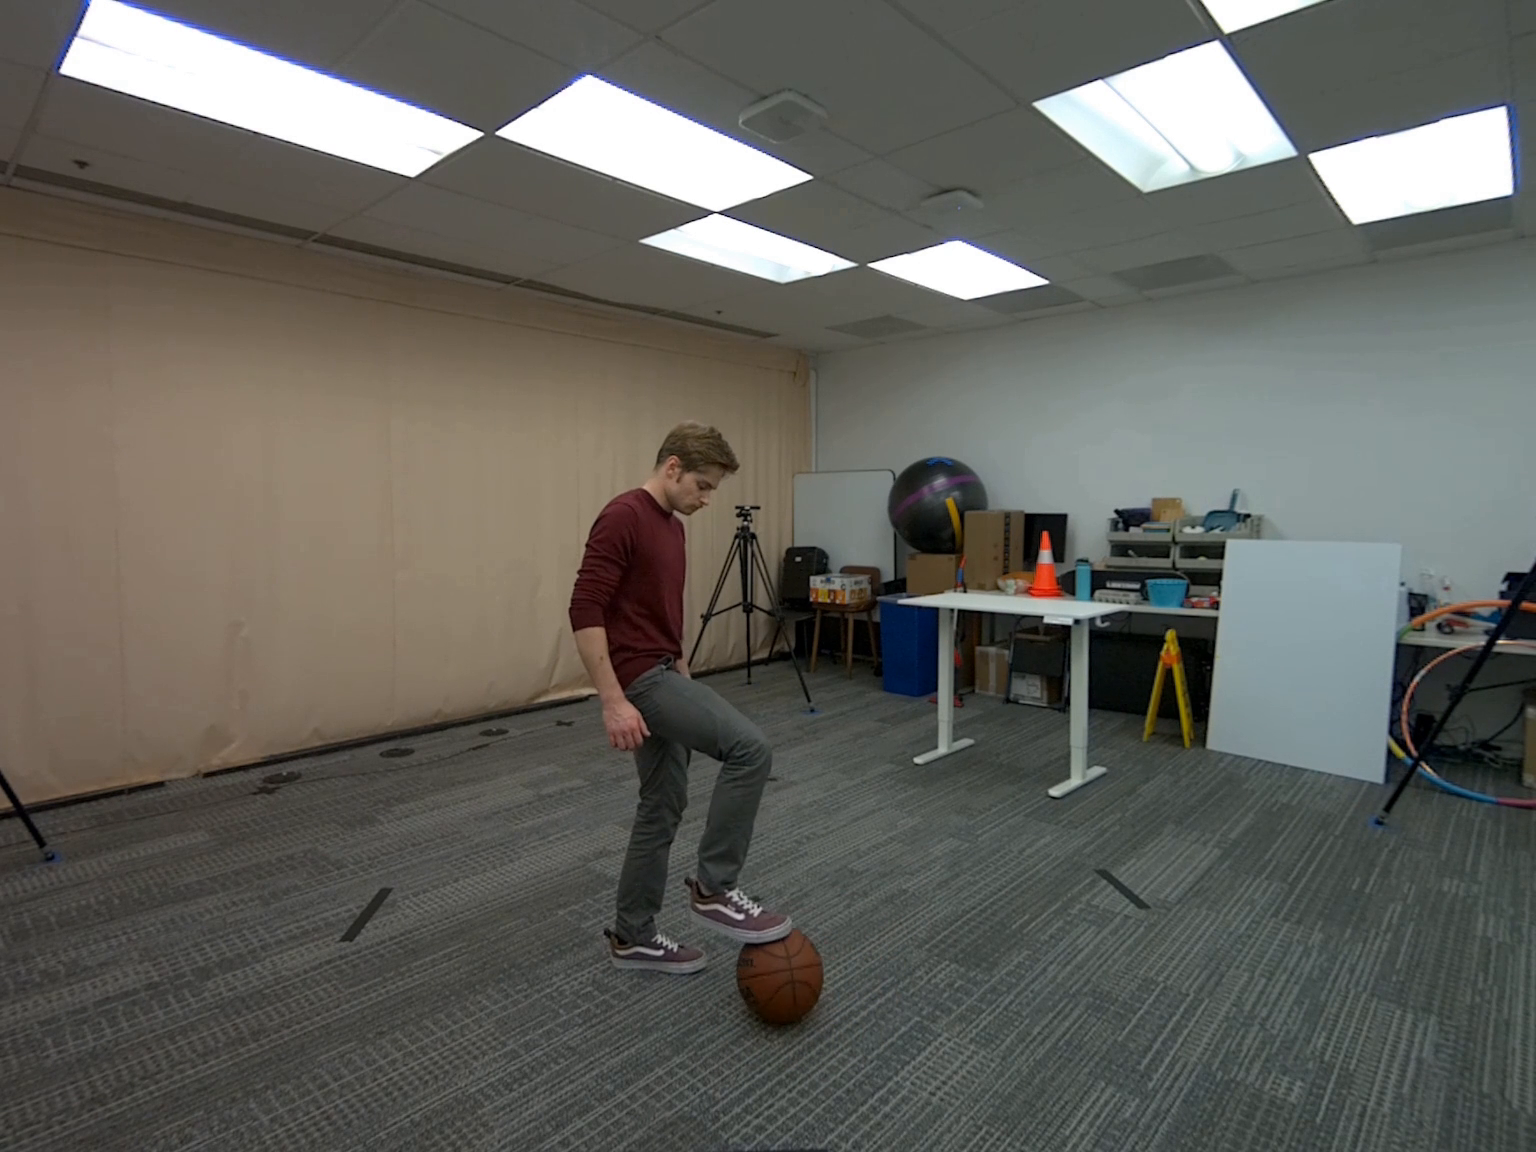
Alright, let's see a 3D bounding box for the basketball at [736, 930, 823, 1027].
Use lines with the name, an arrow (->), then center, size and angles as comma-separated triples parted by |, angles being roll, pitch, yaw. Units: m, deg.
basketball -> 0.047, 1.083, 2.290 | 0.236, 0.235, 0.237 | 0, 4, -2
